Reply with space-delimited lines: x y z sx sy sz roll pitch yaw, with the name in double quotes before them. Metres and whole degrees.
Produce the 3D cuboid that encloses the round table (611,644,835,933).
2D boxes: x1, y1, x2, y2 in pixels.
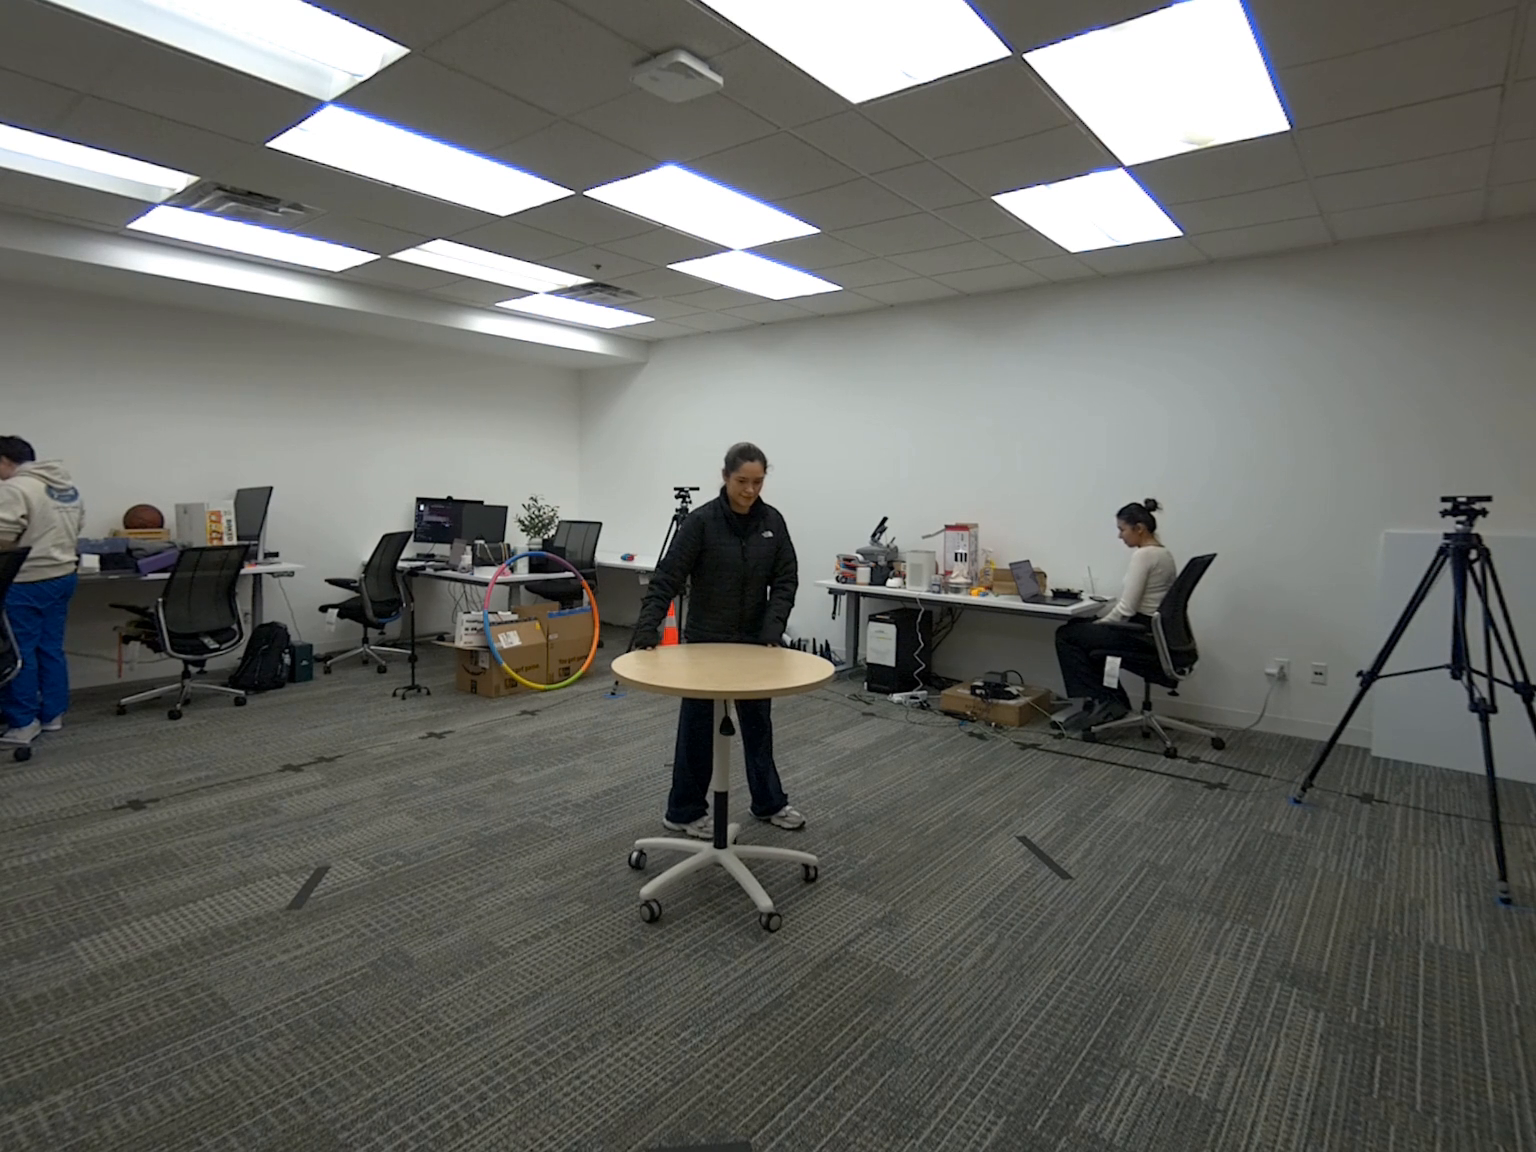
"round table" -0.169 0.687 2.956 0.784 0.784 0.789 1 4 -2
